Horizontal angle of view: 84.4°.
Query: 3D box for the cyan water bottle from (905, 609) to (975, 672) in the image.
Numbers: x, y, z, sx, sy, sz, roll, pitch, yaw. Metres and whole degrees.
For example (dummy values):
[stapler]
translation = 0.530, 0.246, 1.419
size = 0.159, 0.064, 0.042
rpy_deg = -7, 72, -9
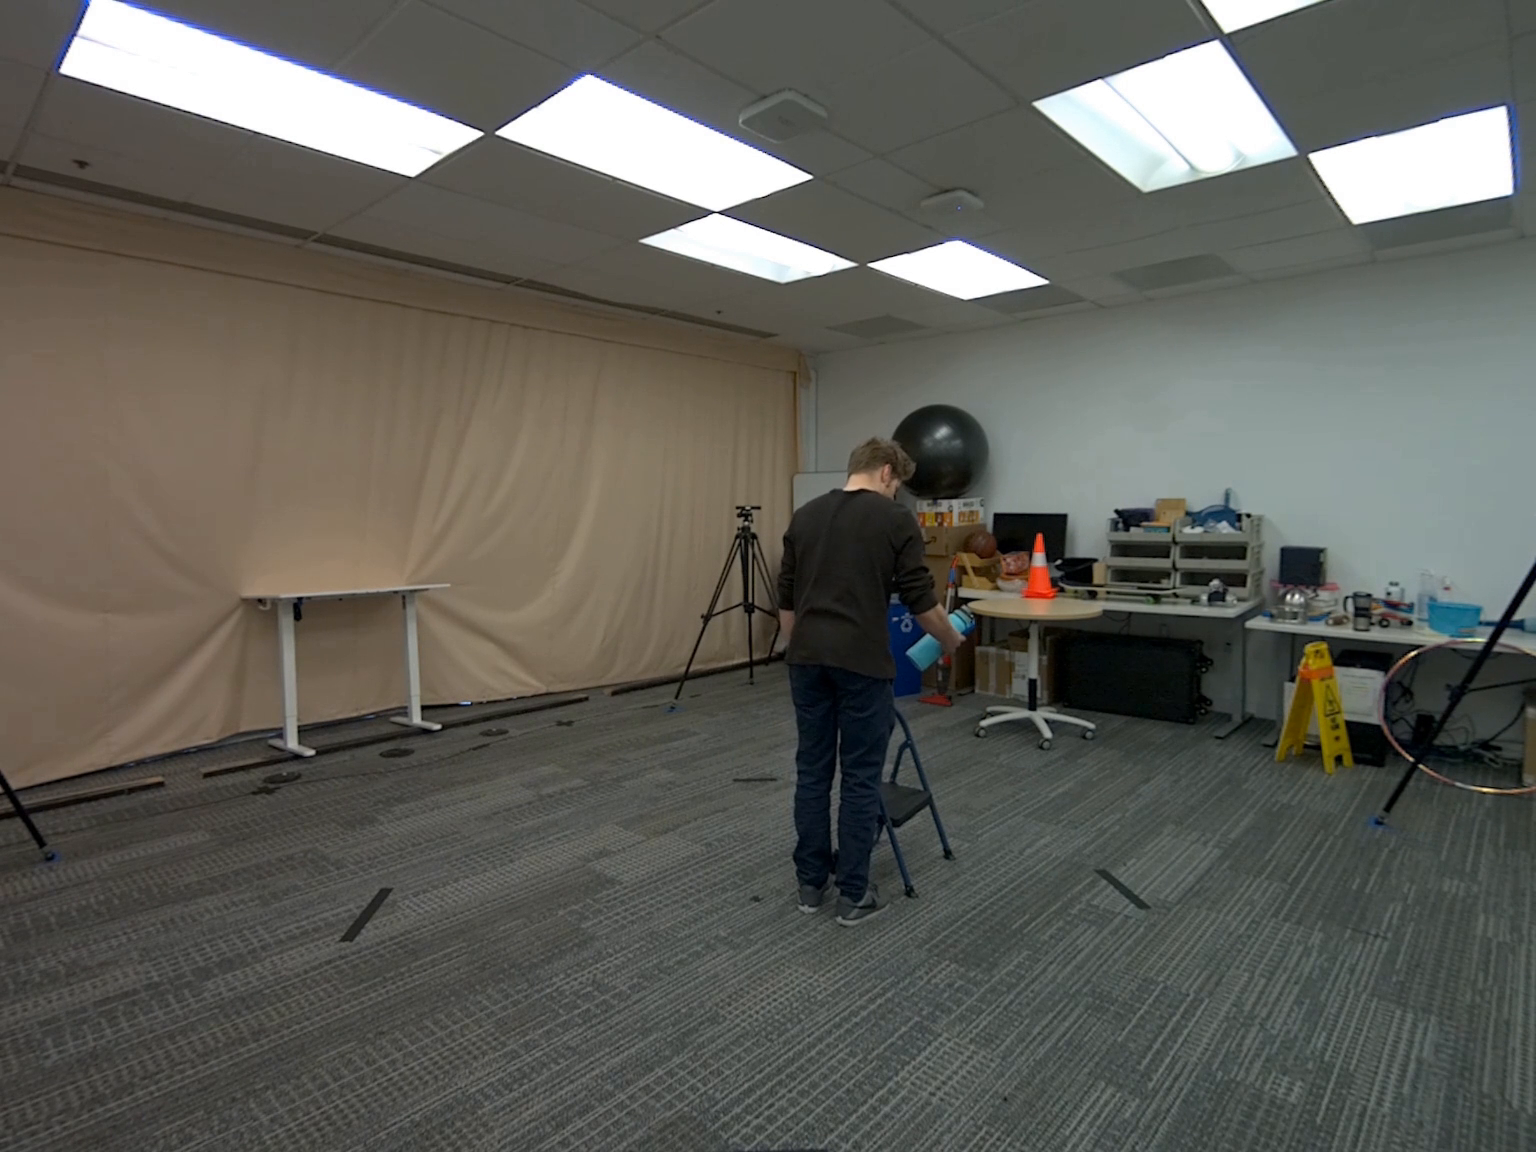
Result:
[cyan water bottle]
translation = 0.652, 0.228, 3.085
size = 0.283, 0.091, 0.093
rpy_deg = -38, 7, -3
